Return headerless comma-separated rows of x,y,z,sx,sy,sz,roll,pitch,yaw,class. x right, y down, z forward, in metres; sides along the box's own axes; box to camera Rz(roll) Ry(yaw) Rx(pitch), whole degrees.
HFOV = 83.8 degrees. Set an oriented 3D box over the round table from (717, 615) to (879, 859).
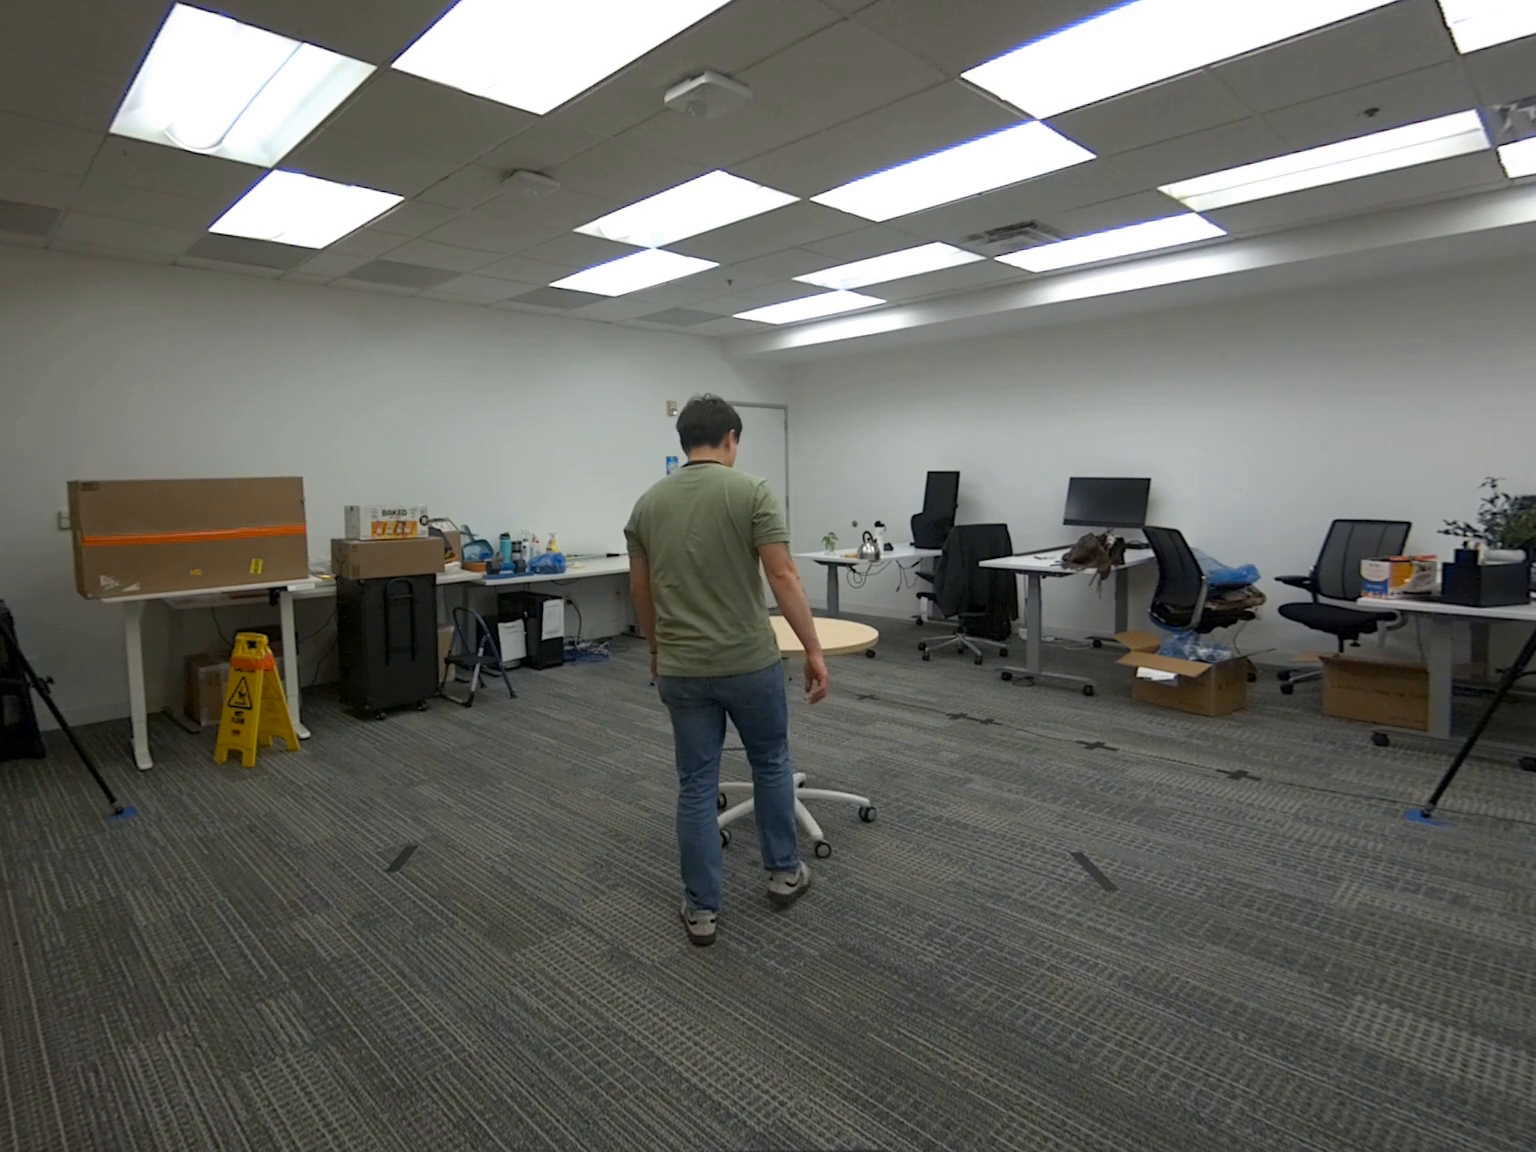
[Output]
0.064,0.615,3.441,0.763,0.791,0.768,0,5,-2,round table
